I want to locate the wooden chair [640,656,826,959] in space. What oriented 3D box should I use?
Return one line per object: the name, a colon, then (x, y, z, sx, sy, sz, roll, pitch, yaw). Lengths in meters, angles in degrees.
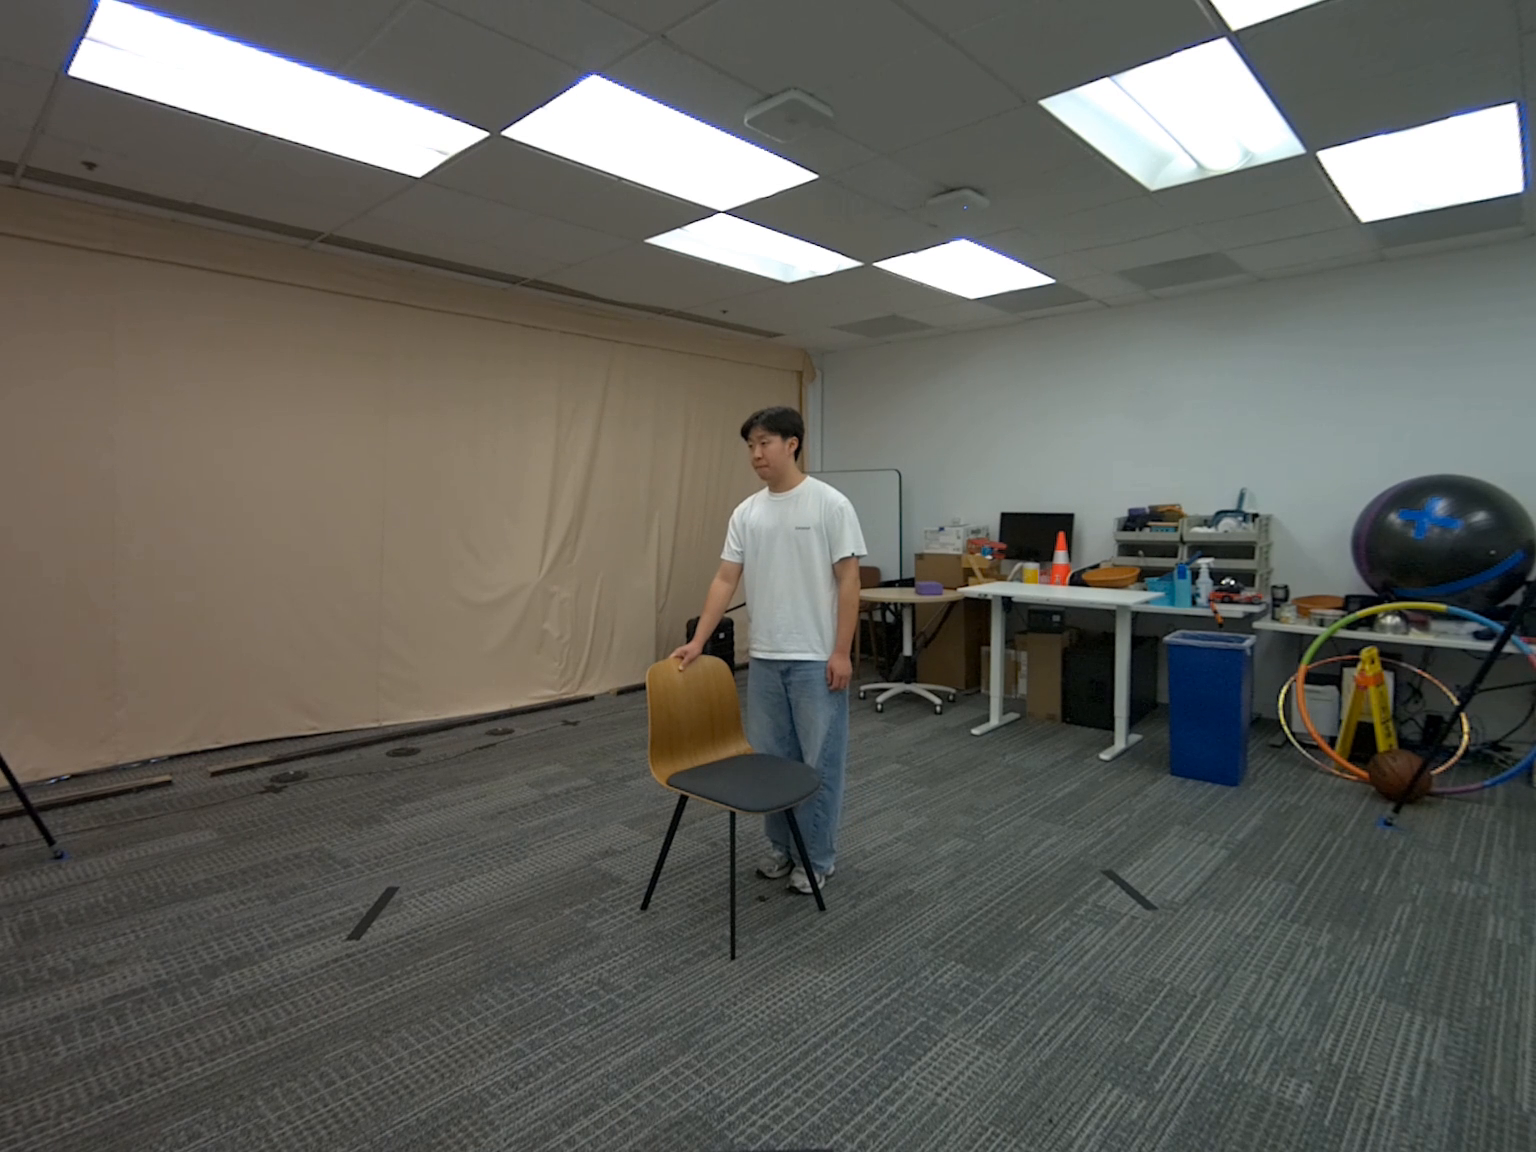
wooden chair: (-0.121, 0.728, 2.855, 0.463, 0.877, 0.539, -3, 0, -45)
